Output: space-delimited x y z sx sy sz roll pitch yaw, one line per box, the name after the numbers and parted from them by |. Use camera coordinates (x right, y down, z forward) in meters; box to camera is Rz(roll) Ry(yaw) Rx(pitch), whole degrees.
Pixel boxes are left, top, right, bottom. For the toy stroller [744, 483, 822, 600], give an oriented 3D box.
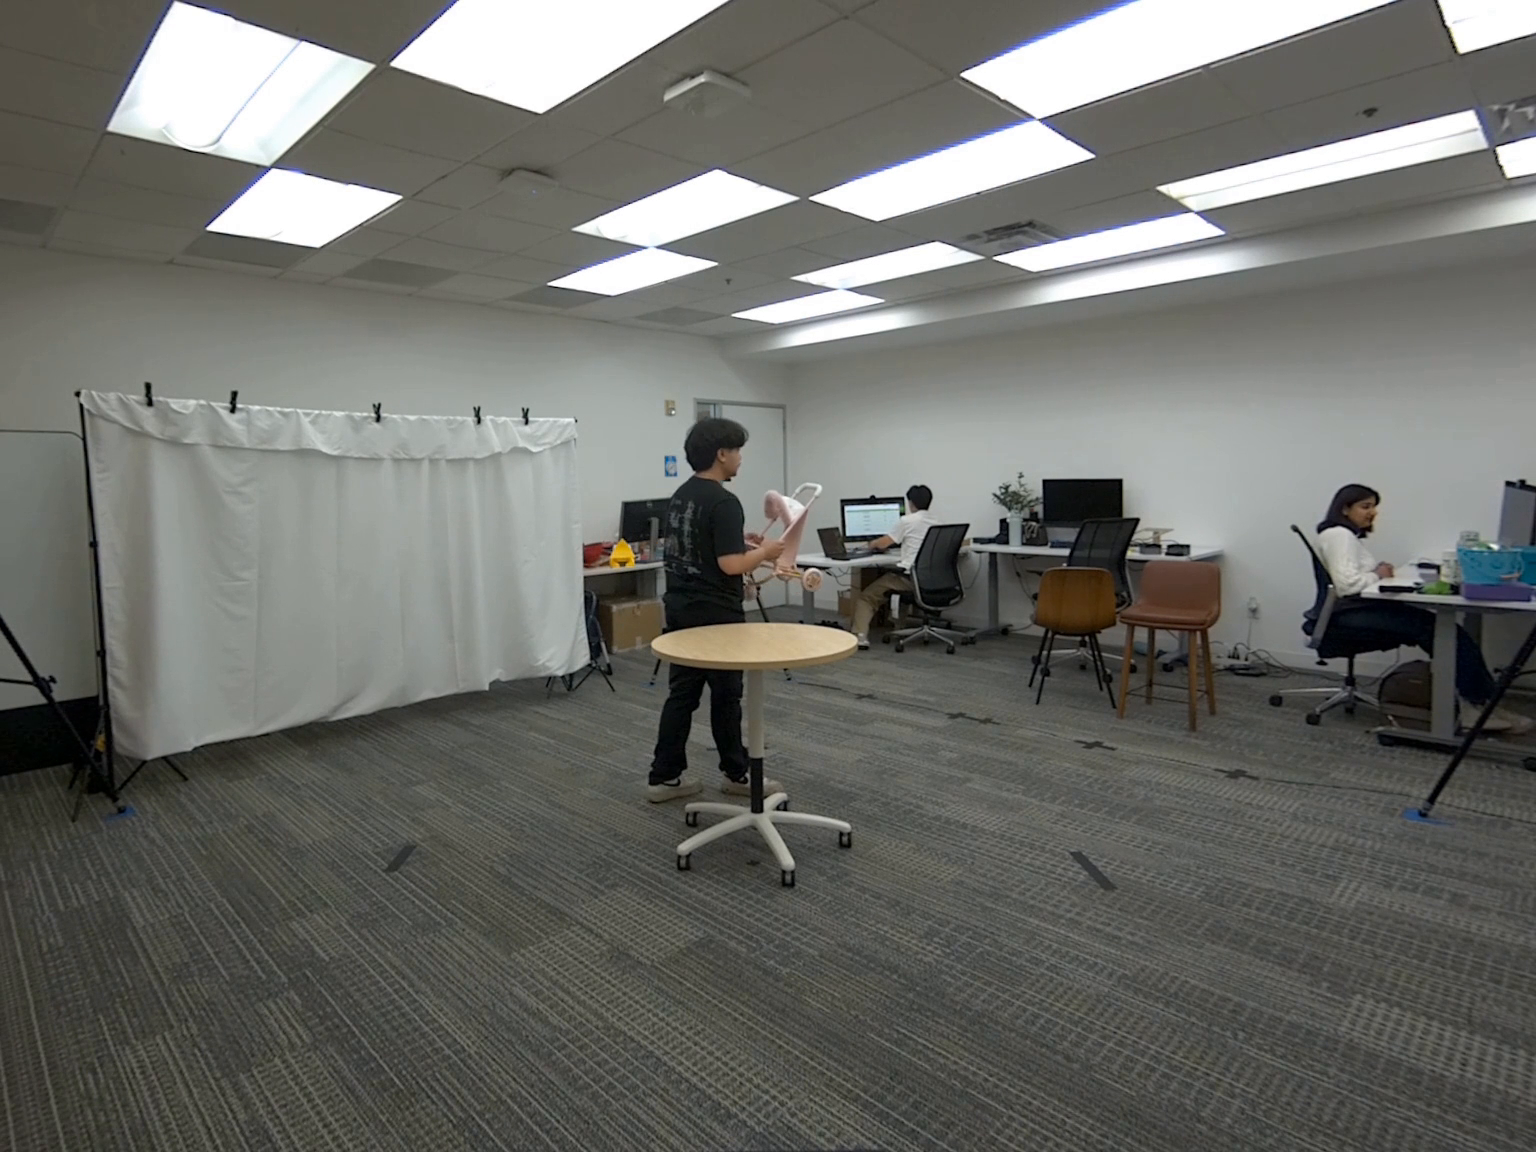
0.048 -0.151 3.884 0.335 0.531 0.289 -1 9 -20 | toy stroller
